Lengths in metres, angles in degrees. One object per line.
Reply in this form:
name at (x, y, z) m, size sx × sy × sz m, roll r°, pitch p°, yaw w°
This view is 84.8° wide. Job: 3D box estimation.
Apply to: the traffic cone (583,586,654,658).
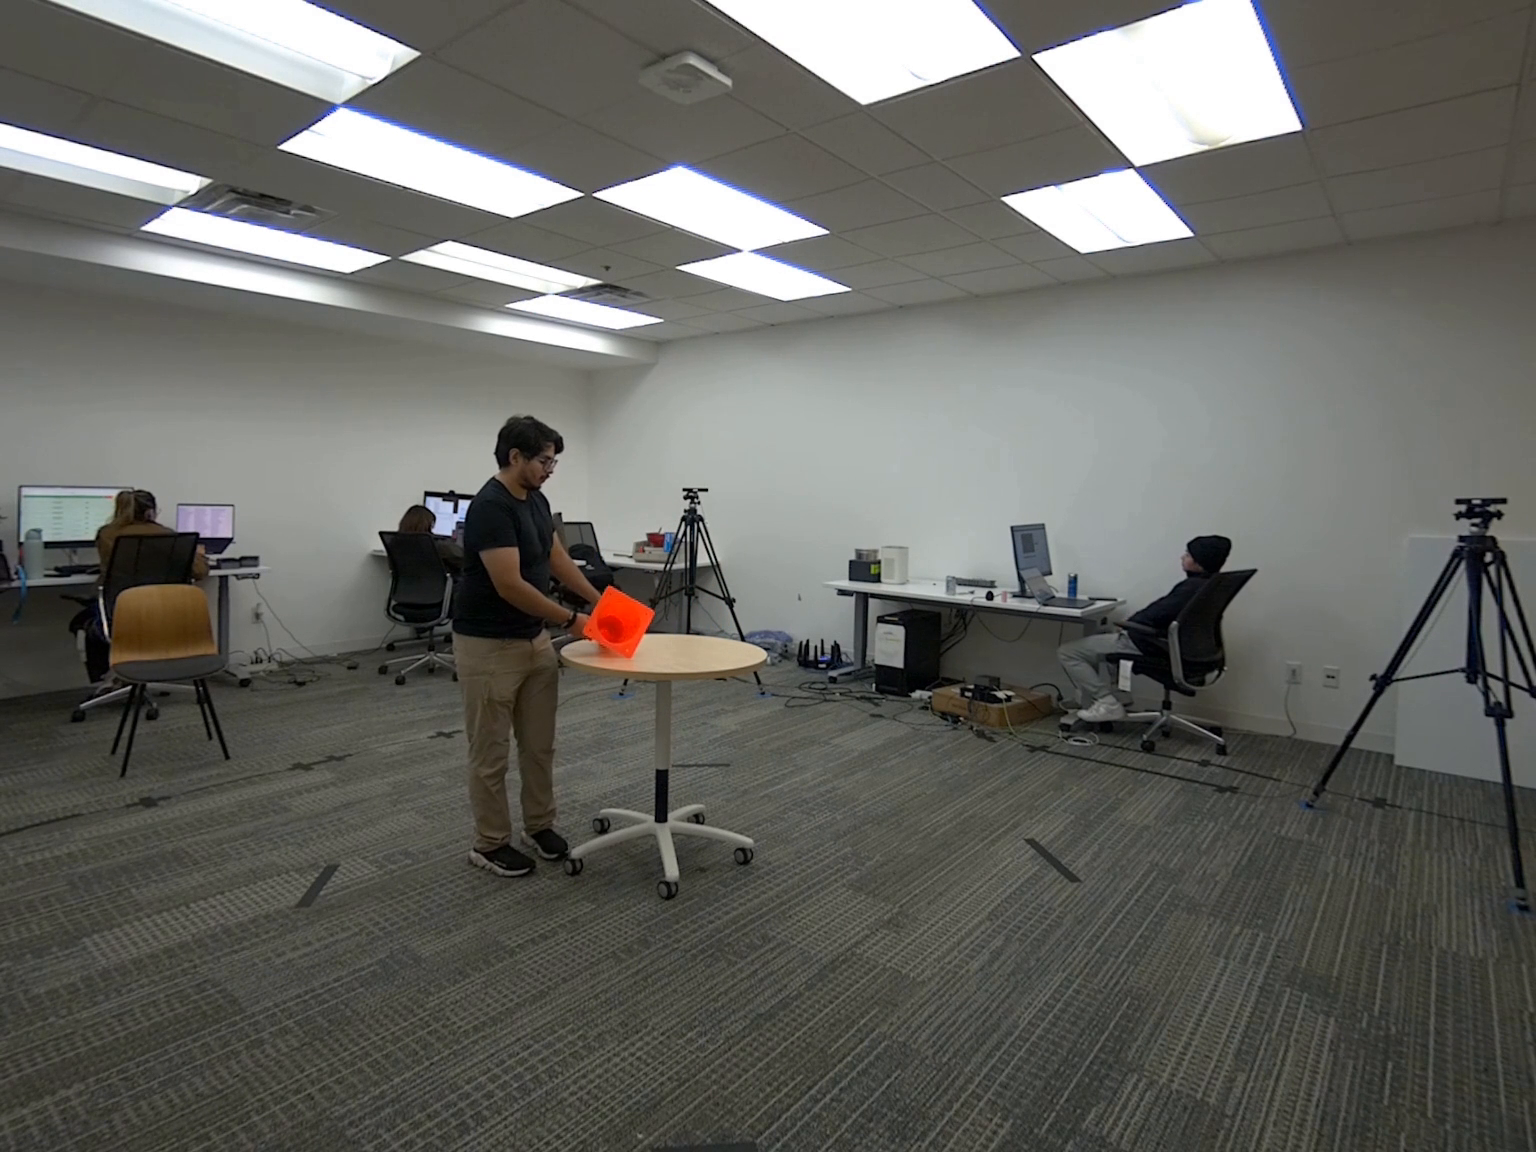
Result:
traffic cone at (-0.609, 0.202, 3.197) m, size 0.200 × 0.206 × 0.386 m, roll 29°, pitch -19°, yaw -12°
